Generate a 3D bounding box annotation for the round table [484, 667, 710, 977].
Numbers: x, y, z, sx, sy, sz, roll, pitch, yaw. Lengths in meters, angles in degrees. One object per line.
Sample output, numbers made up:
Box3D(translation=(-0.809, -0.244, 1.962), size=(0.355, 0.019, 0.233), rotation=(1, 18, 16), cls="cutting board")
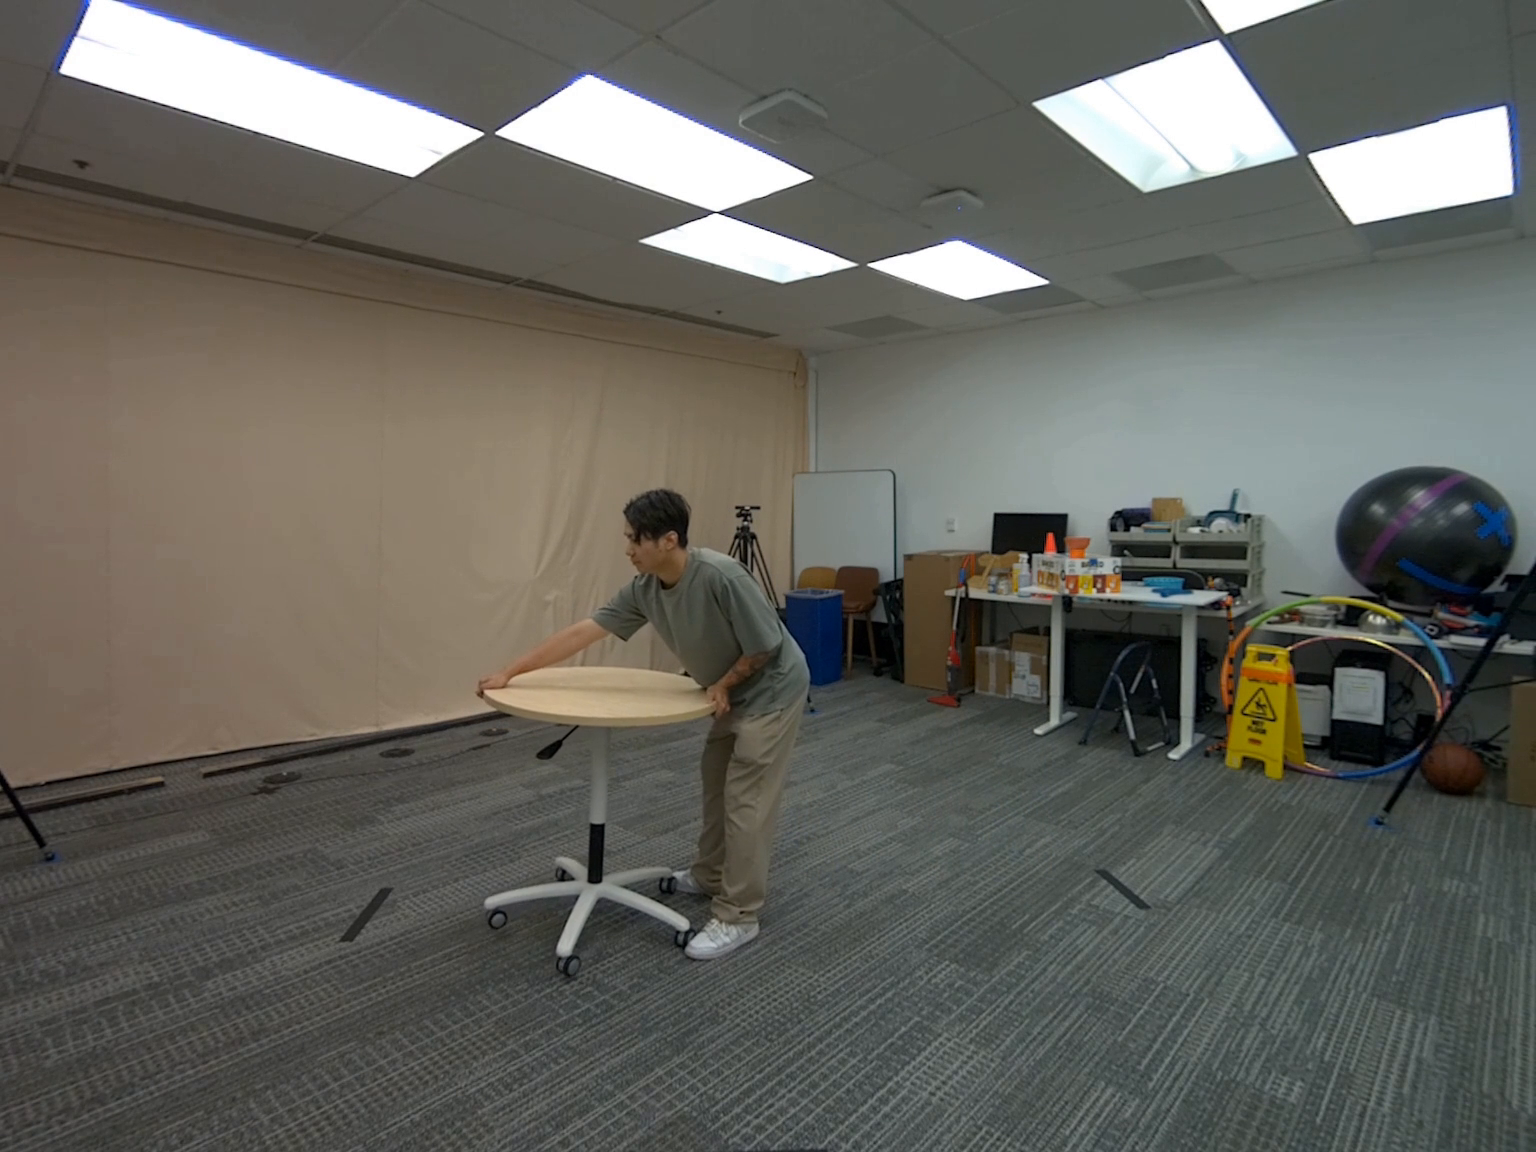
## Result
Box3D(translation=(-0.565, 0.764, 2.759), size=(0.784, 0.785, 0.787), rotation=(3, 3, -2), cls="round table")
